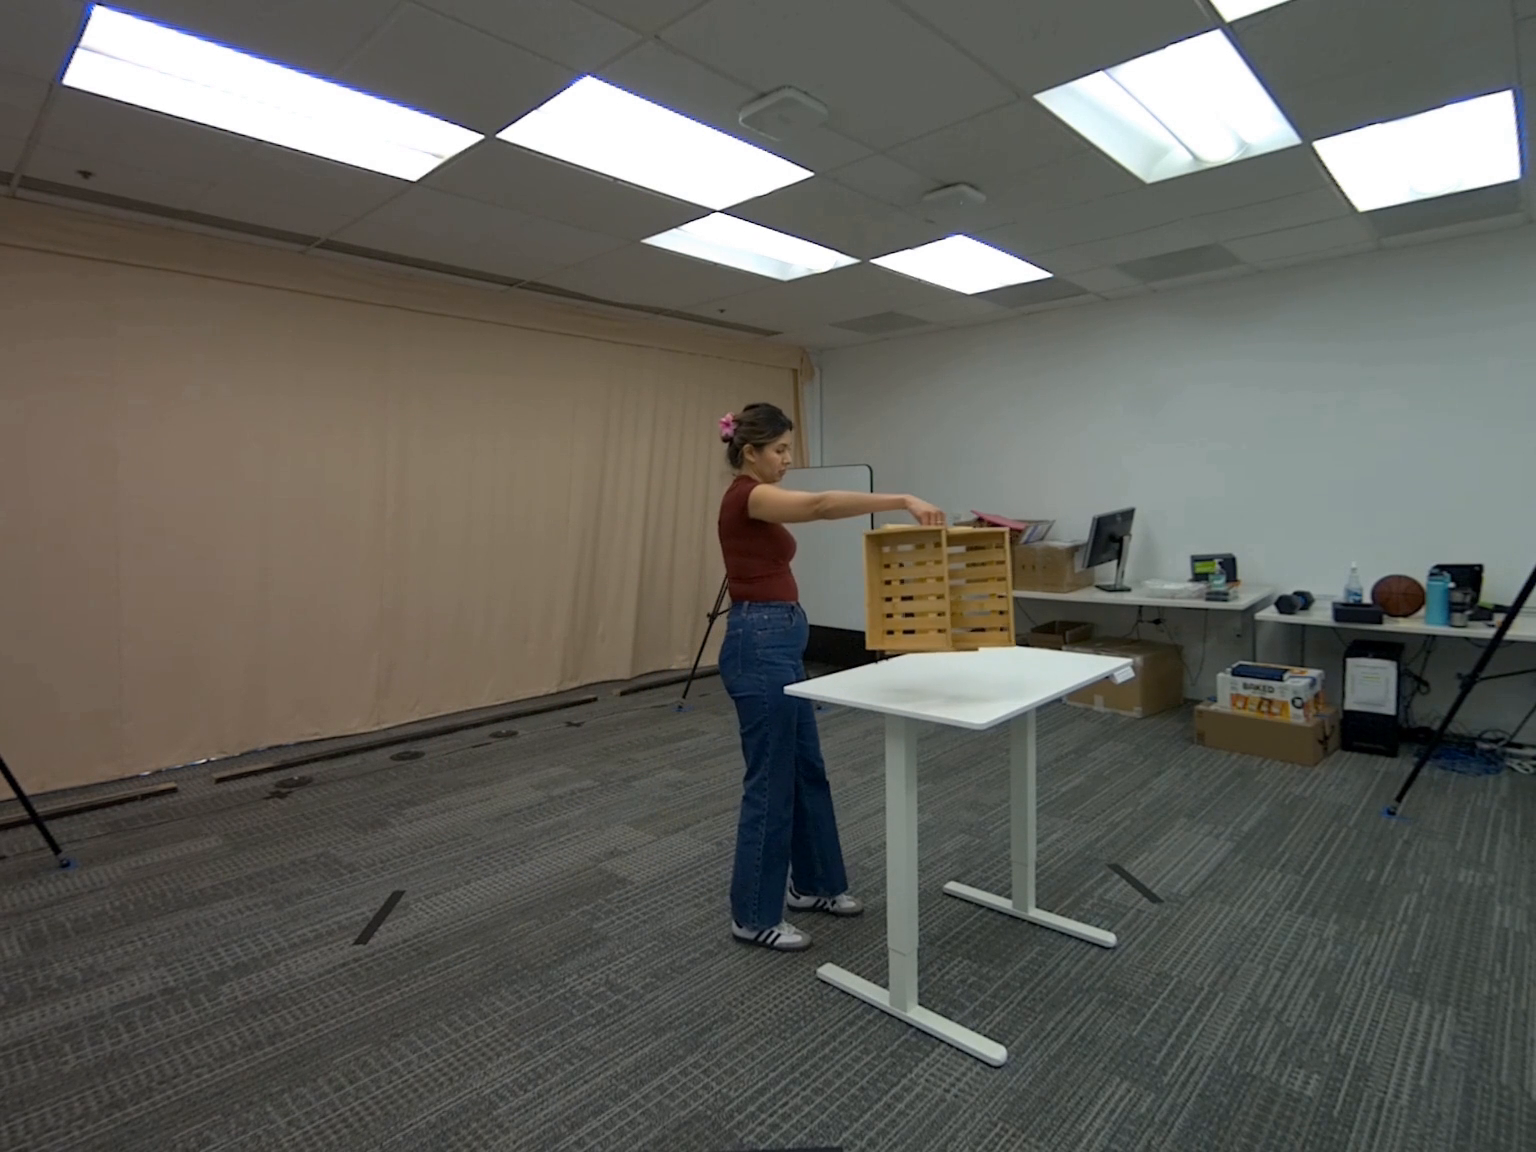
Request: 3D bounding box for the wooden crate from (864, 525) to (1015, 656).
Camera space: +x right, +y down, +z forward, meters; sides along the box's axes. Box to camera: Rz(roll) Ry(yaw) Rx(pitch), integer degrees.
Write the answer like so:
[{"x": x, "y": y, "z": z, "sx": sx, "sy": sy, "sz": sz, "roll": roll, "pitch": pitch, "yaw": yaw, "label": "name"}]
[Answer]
[{"x": 0.449, "y": 0.036, "z": 2.133, "sx": 0.311, "sy": 0.325, "sz": 0.264, "roll": -5, "pitch": -6, "yaw": 39, "label": "wooden crate"}]
